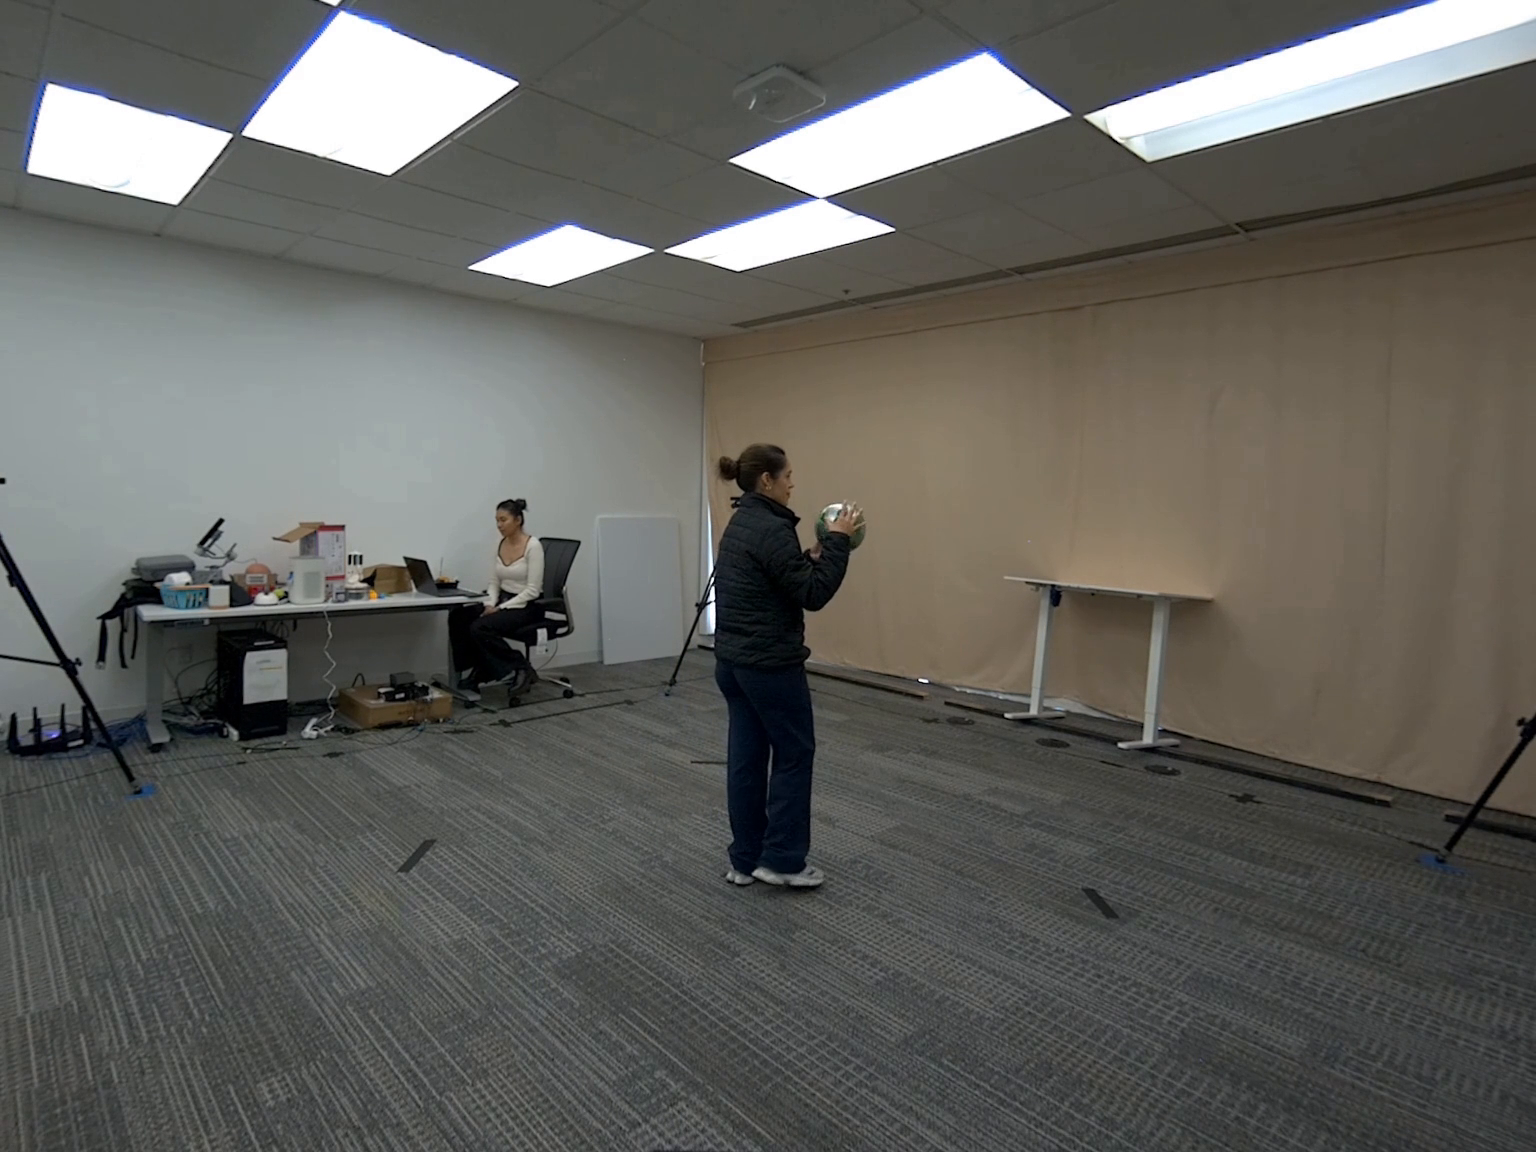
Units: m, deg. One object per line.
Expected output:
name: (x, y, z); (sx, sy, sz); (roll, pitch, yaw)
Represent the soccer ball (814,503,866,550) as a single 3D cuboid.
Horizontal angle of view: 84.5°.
soccer ball: (0.260, -0.176, 3.057); (0.187, 0.187, 0.188); (1, 4, -1)
